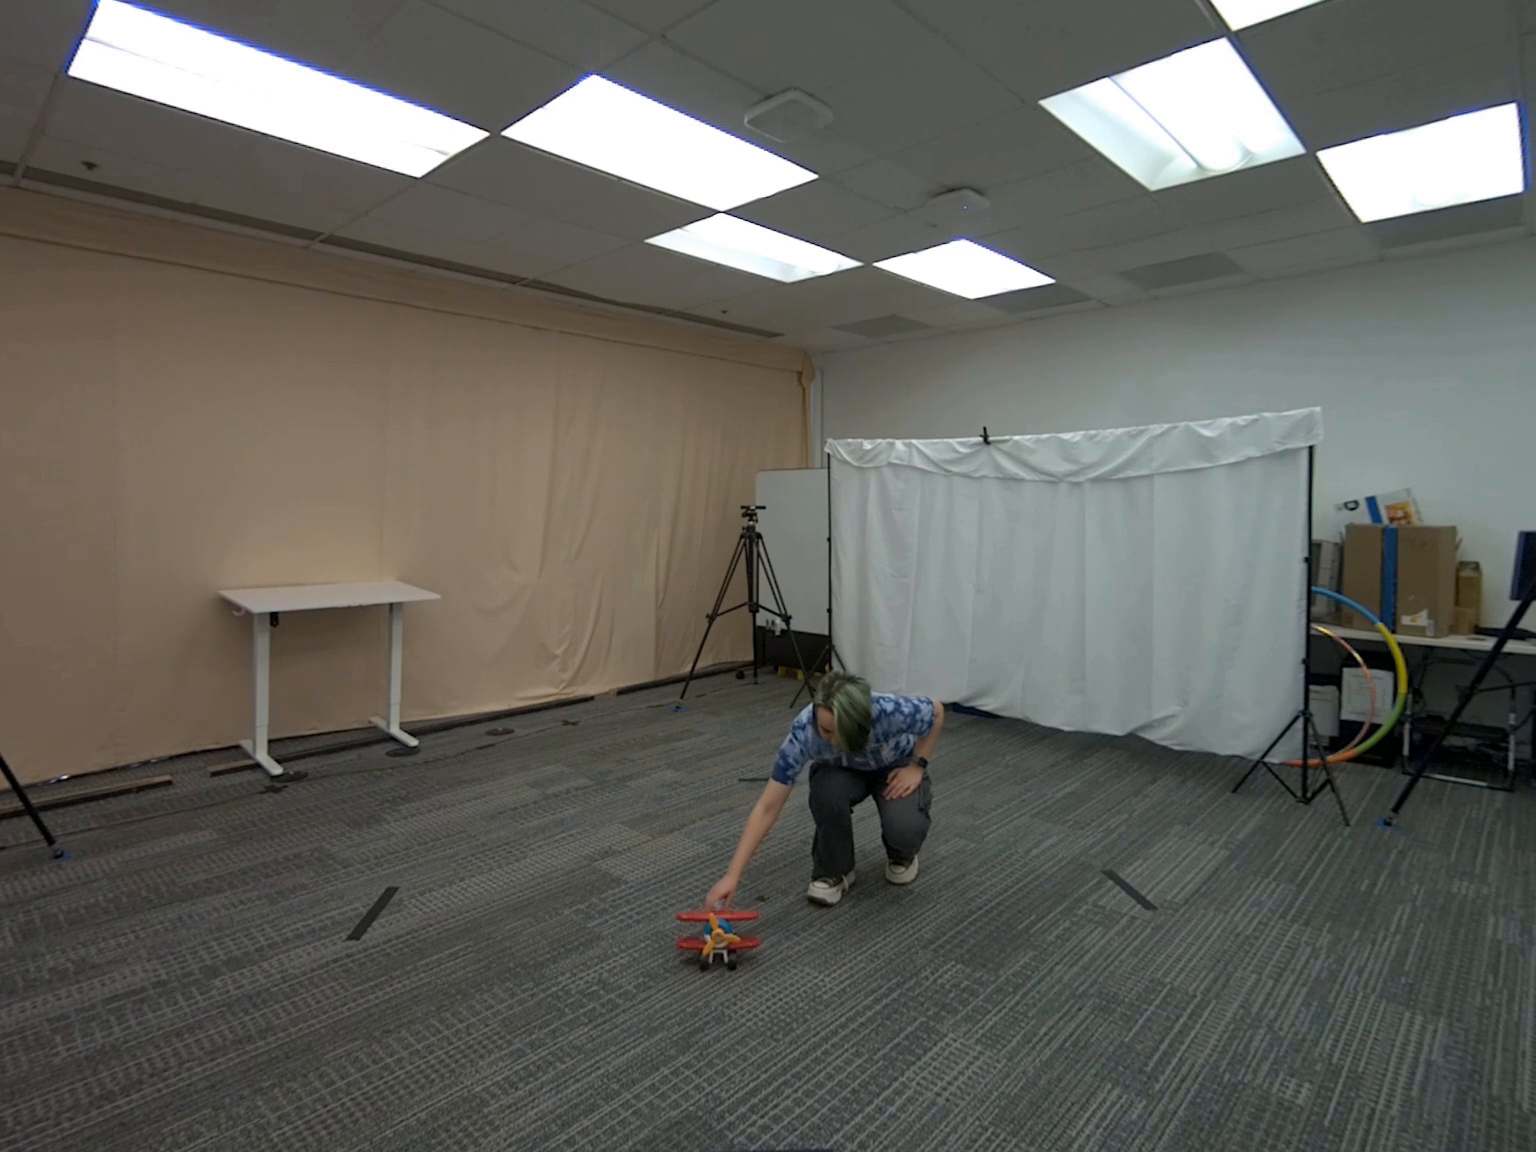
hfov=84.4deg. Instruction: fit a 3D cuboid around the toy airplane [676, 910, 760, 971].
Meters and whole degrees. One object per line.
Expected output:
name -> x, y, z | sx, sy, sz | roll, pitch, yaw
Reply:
toy airplane -> -0.168, 1.099, 2.613 | 0.244, 0.156, 0.267 | -3, 6, -30
